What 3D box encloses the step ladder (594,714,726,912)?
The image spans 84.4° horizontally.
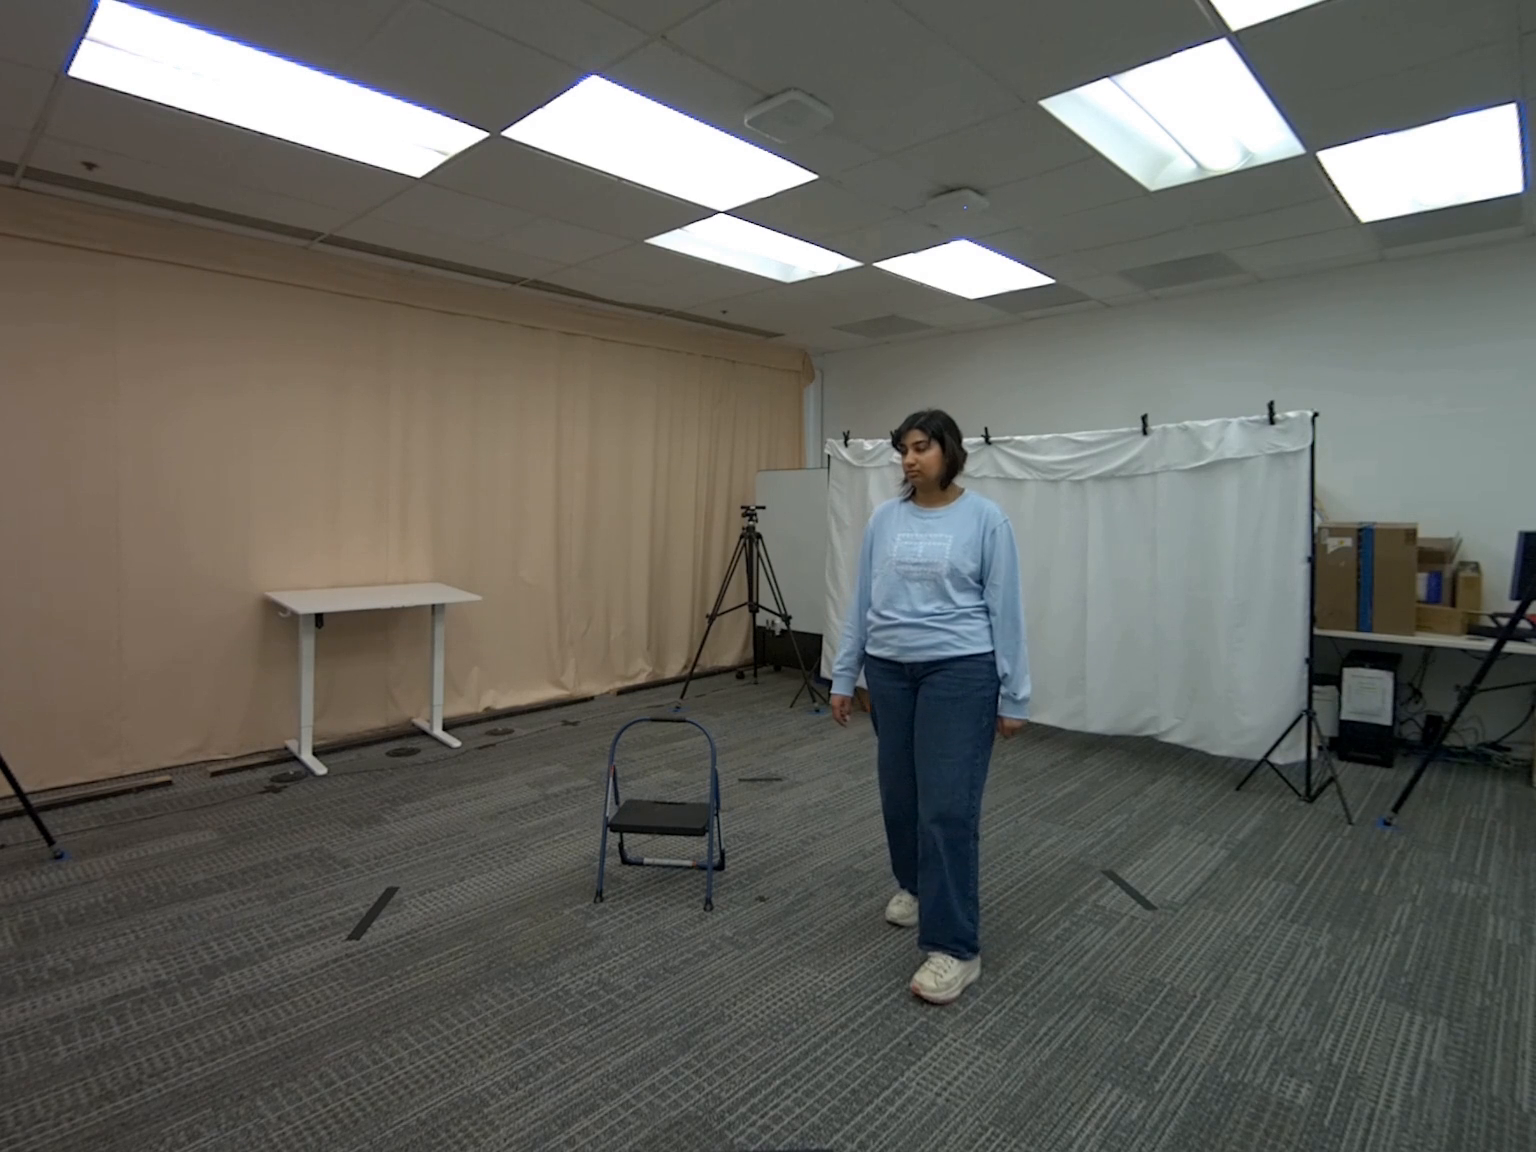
[{"bbox_3d":[-0.389,0.835,3.089,0.435,0.605,0.346,0,4,8],"label":"step ladder"}]
